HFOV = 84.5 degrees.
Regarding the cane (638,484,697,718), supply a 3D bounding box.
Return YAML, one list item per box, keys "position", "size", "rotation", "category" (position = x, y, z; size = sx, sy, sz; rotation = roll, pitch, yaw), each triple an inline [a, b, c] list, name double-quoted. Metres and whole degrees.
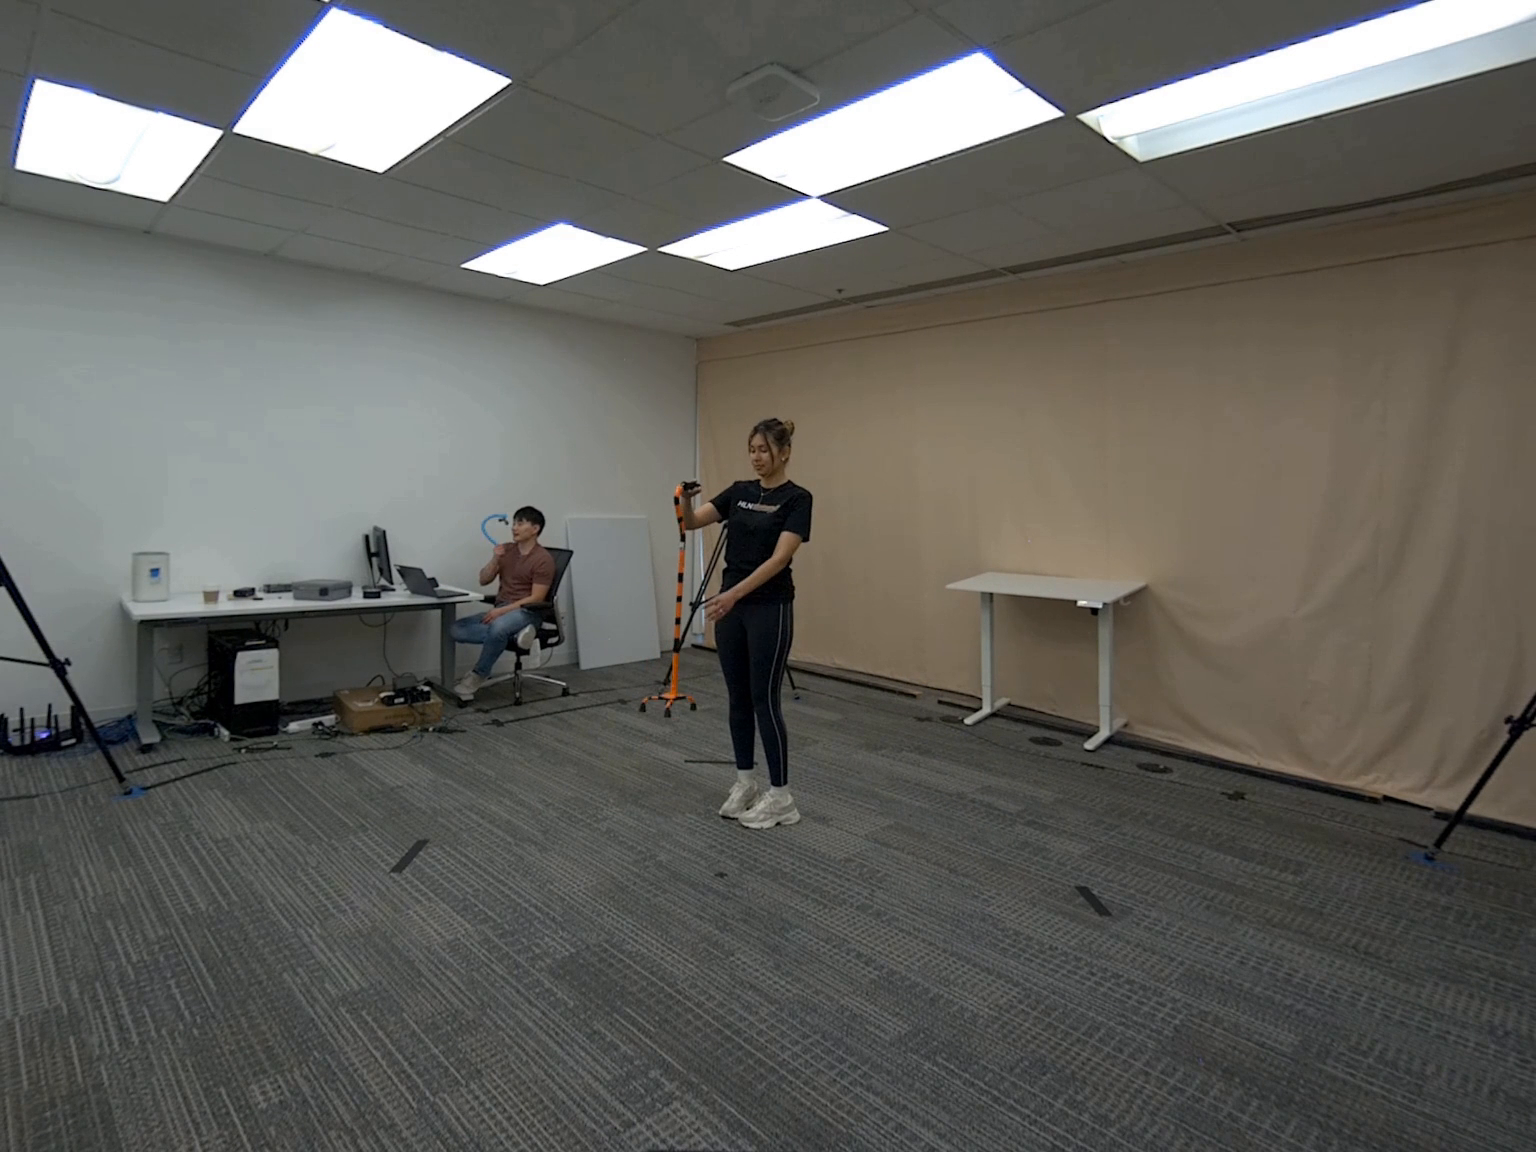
- position: [-0.373, 0.094, 3.340]
  size: [0.155, 0.907, 0.202]
  rotation: [3, 2, 26]
  category: "cane"
